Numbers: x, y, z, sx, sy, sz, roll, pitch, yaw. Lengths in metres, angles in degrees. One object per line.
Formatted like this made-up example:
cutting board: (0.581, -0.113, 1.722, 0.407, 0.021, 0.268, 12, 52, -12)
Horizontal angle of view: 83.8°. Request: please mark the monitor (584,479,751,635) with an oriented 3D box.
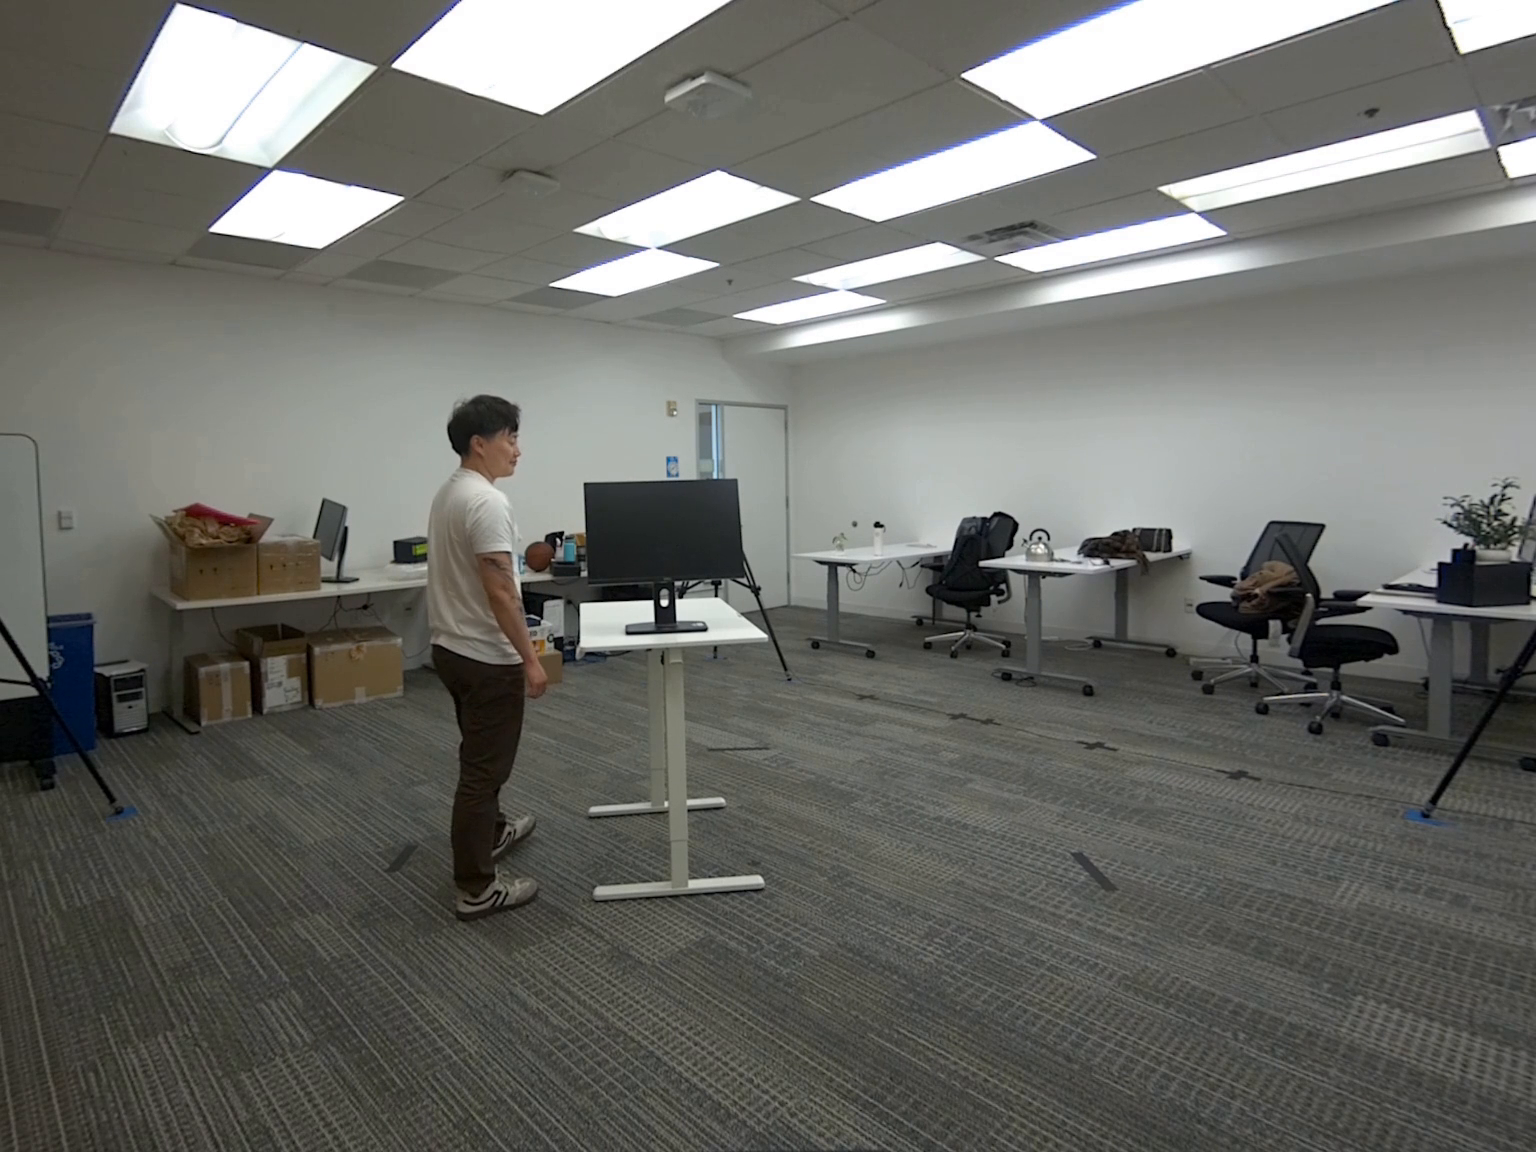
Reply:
monitor: (-0.372, -0.068, 2.955, 0.533, 0.521, 0.190, -2, 3, -13)
